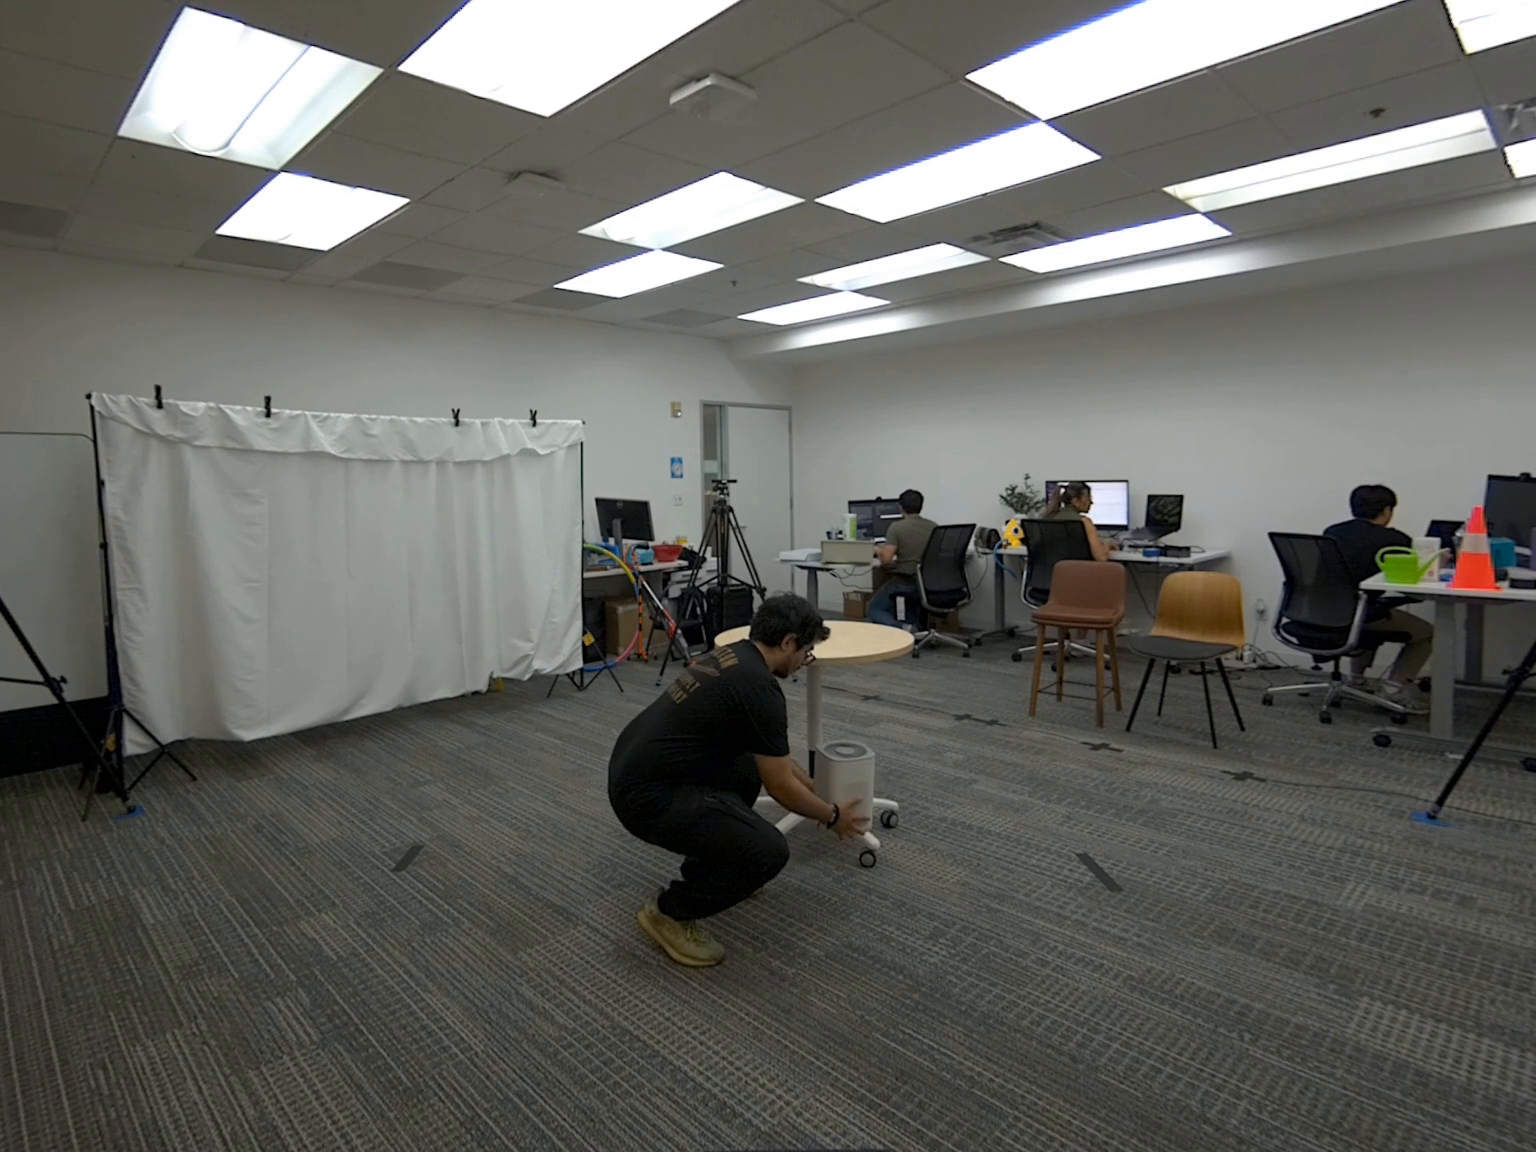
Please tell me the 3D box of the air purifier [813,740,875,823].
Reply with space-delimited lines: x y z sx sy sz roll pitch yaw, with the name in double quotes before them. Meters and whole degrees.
"air purifier" 0.240 0.694 2.800 0.168 0.263 0.175 -2 9 -22
